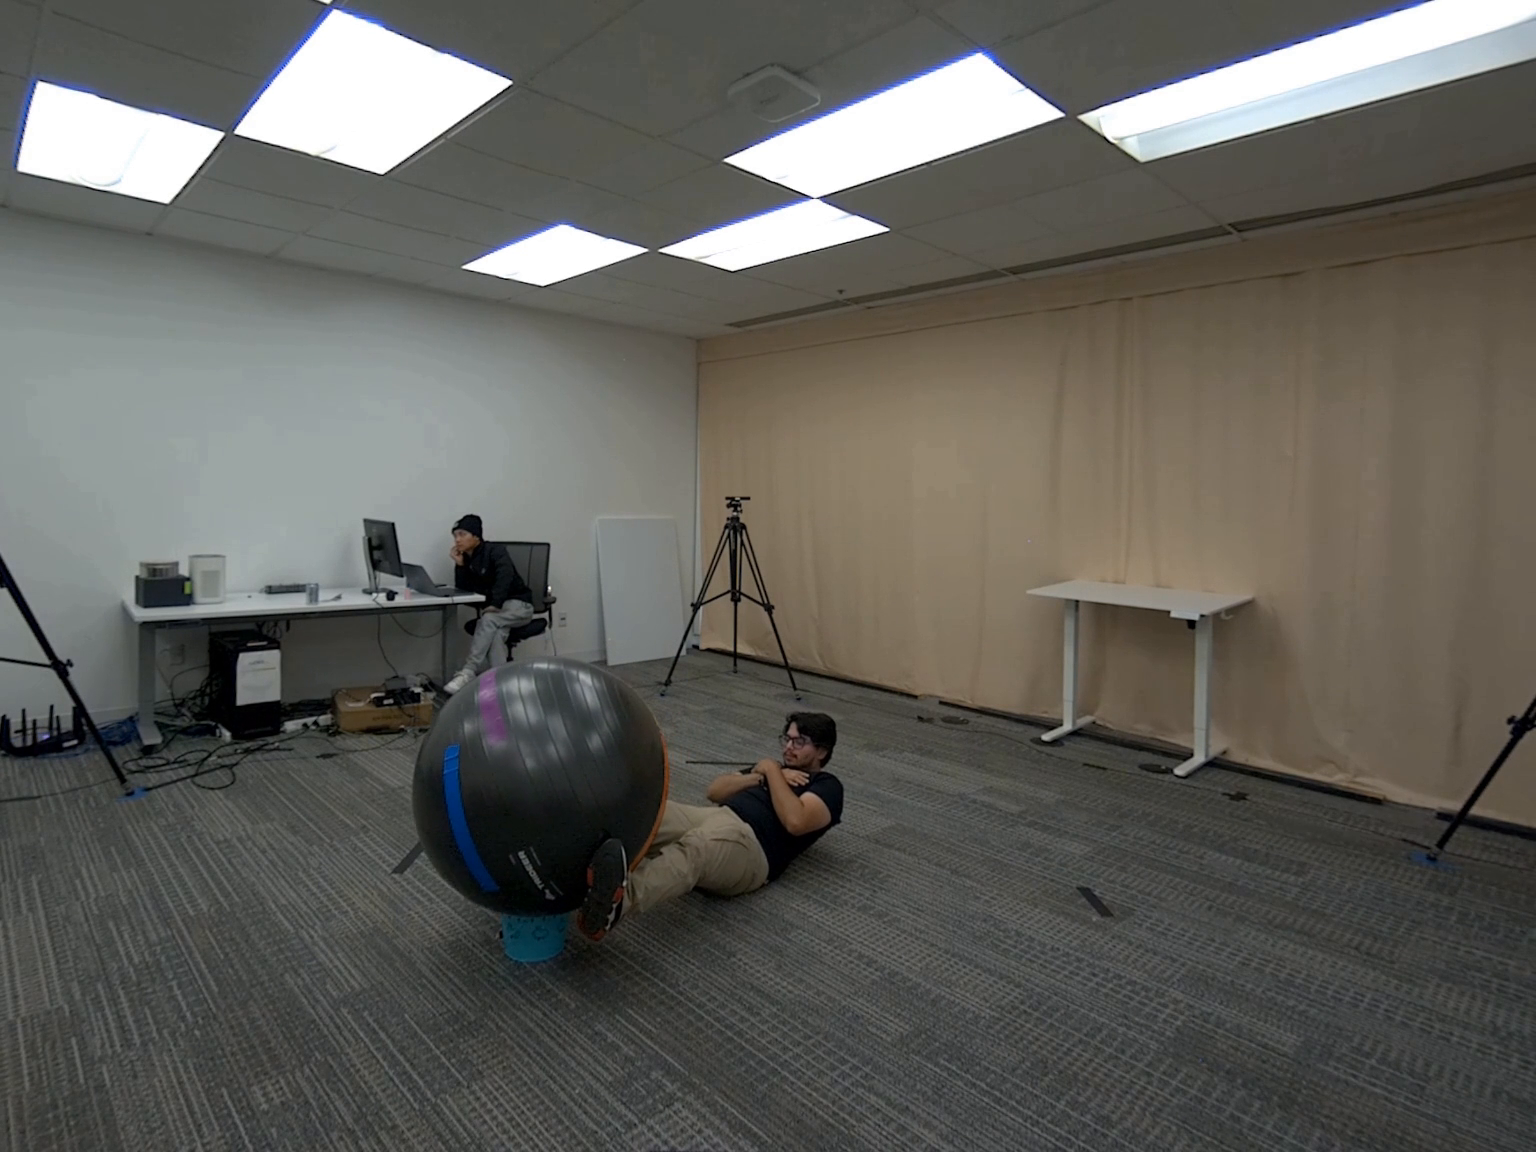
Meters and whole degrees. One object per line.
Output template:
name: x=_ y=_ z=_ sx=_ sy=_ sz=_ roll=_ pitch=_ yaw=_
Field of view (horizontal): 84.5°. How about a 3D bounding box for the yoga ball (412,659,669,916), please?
yoga ball: x=-0.689 y=0.631 z=2.563 sx=0.757 sy=0.756 sz=0.761 roll=1 pitch=4 yaw=-1
